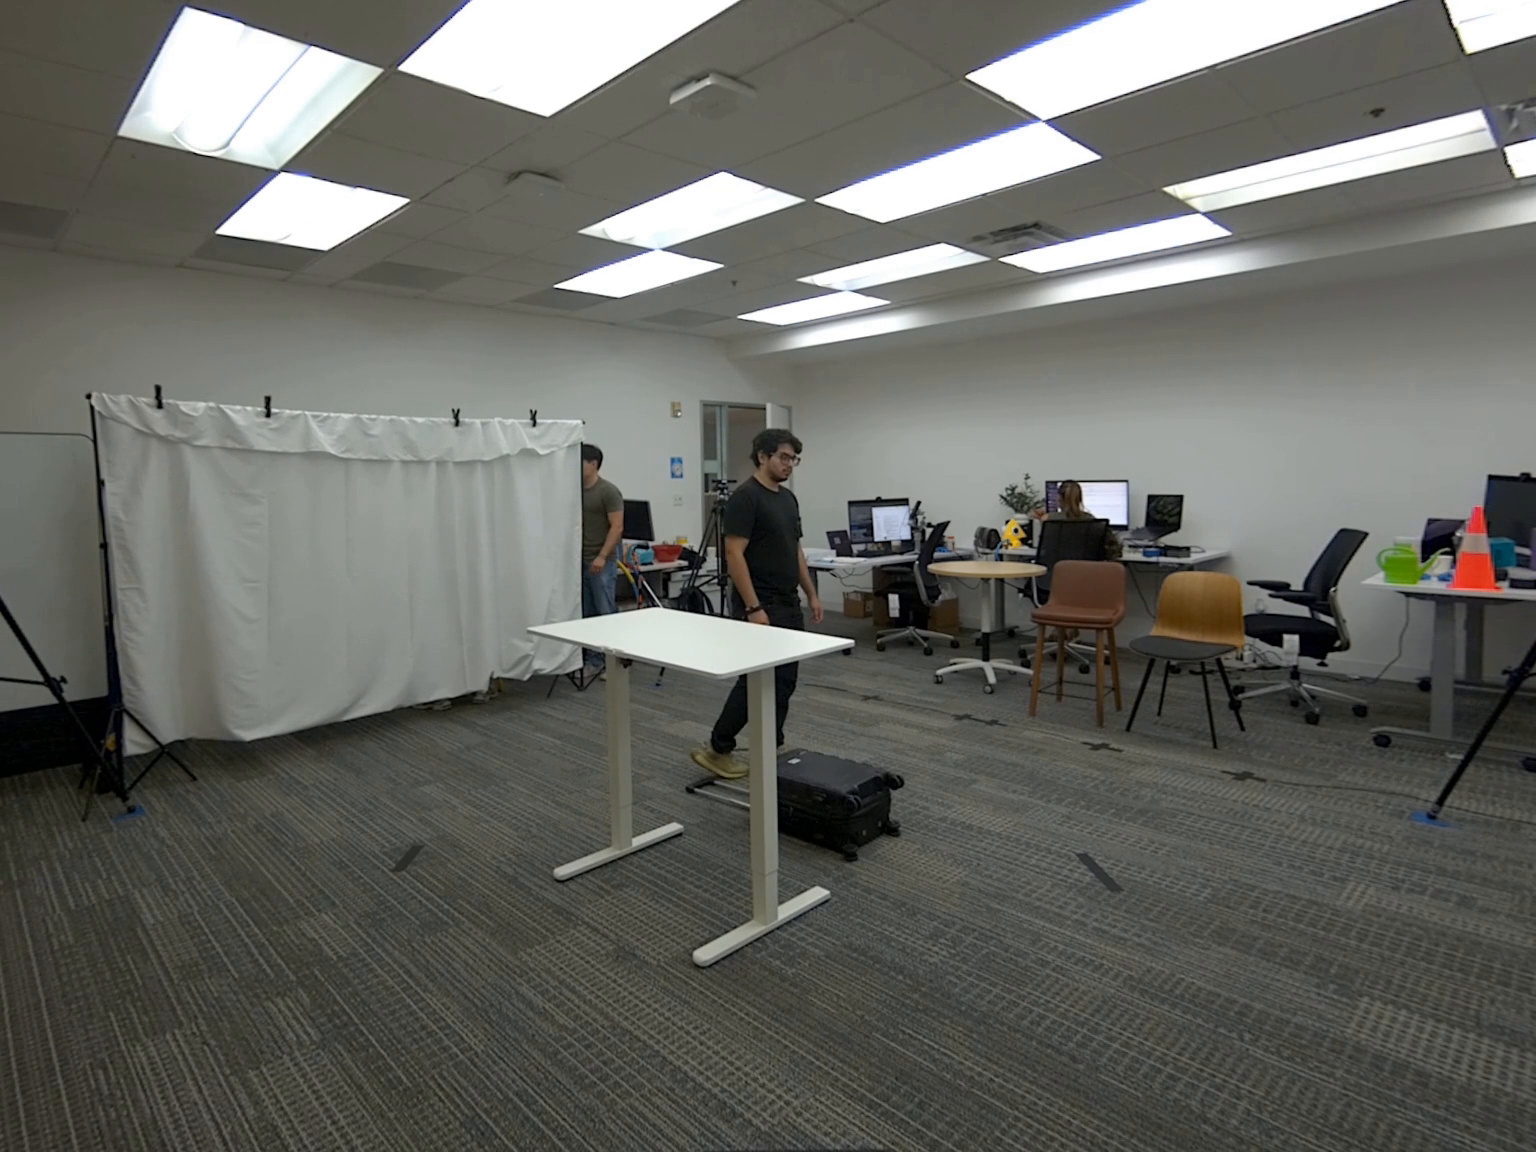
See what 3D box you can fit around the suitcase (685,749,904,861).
[{"bbox_3d":[0.063,0.869,3.564,1.010,0.255,0.374,7,10,42],"label":"suitcase"}]
